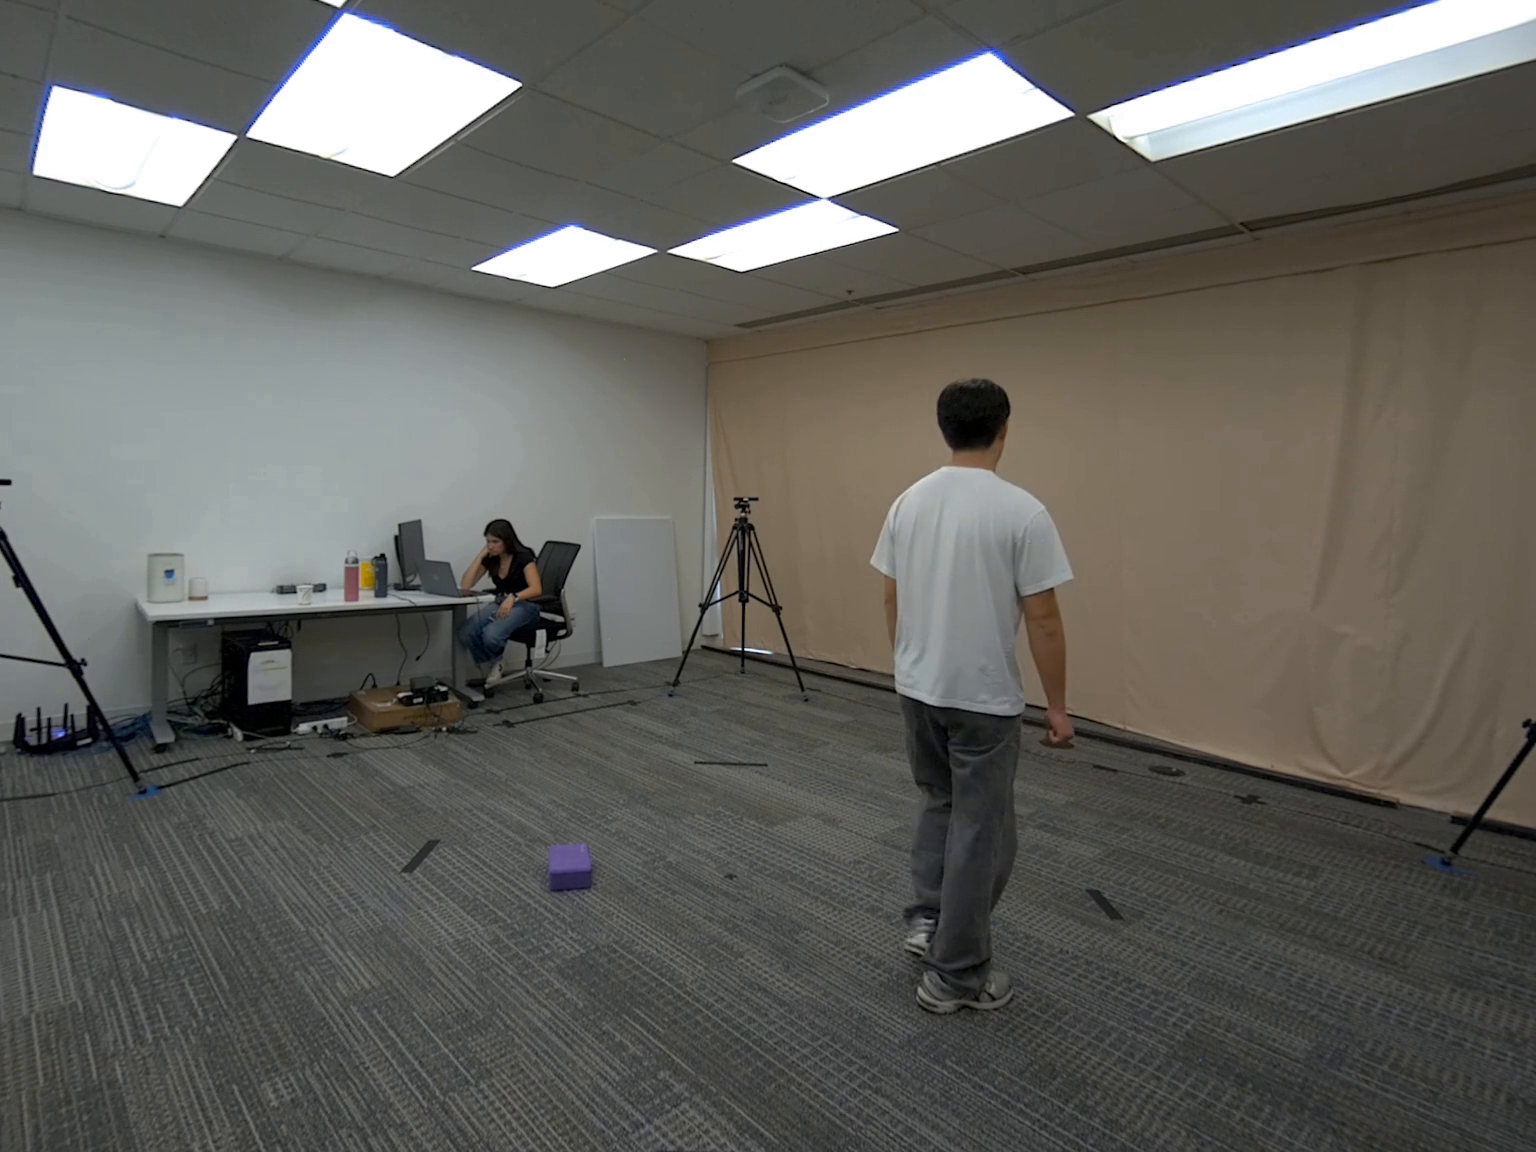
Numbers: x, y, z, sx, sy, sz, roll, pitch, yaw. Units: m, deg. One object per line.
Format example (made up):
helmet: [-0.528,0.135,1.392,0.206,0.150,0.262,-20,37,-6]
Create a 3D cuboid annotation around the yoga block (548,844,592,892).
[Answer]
yoga block: [-0.731,1.061,3.064,0.147,0.076,0.232,1,6,-14]
